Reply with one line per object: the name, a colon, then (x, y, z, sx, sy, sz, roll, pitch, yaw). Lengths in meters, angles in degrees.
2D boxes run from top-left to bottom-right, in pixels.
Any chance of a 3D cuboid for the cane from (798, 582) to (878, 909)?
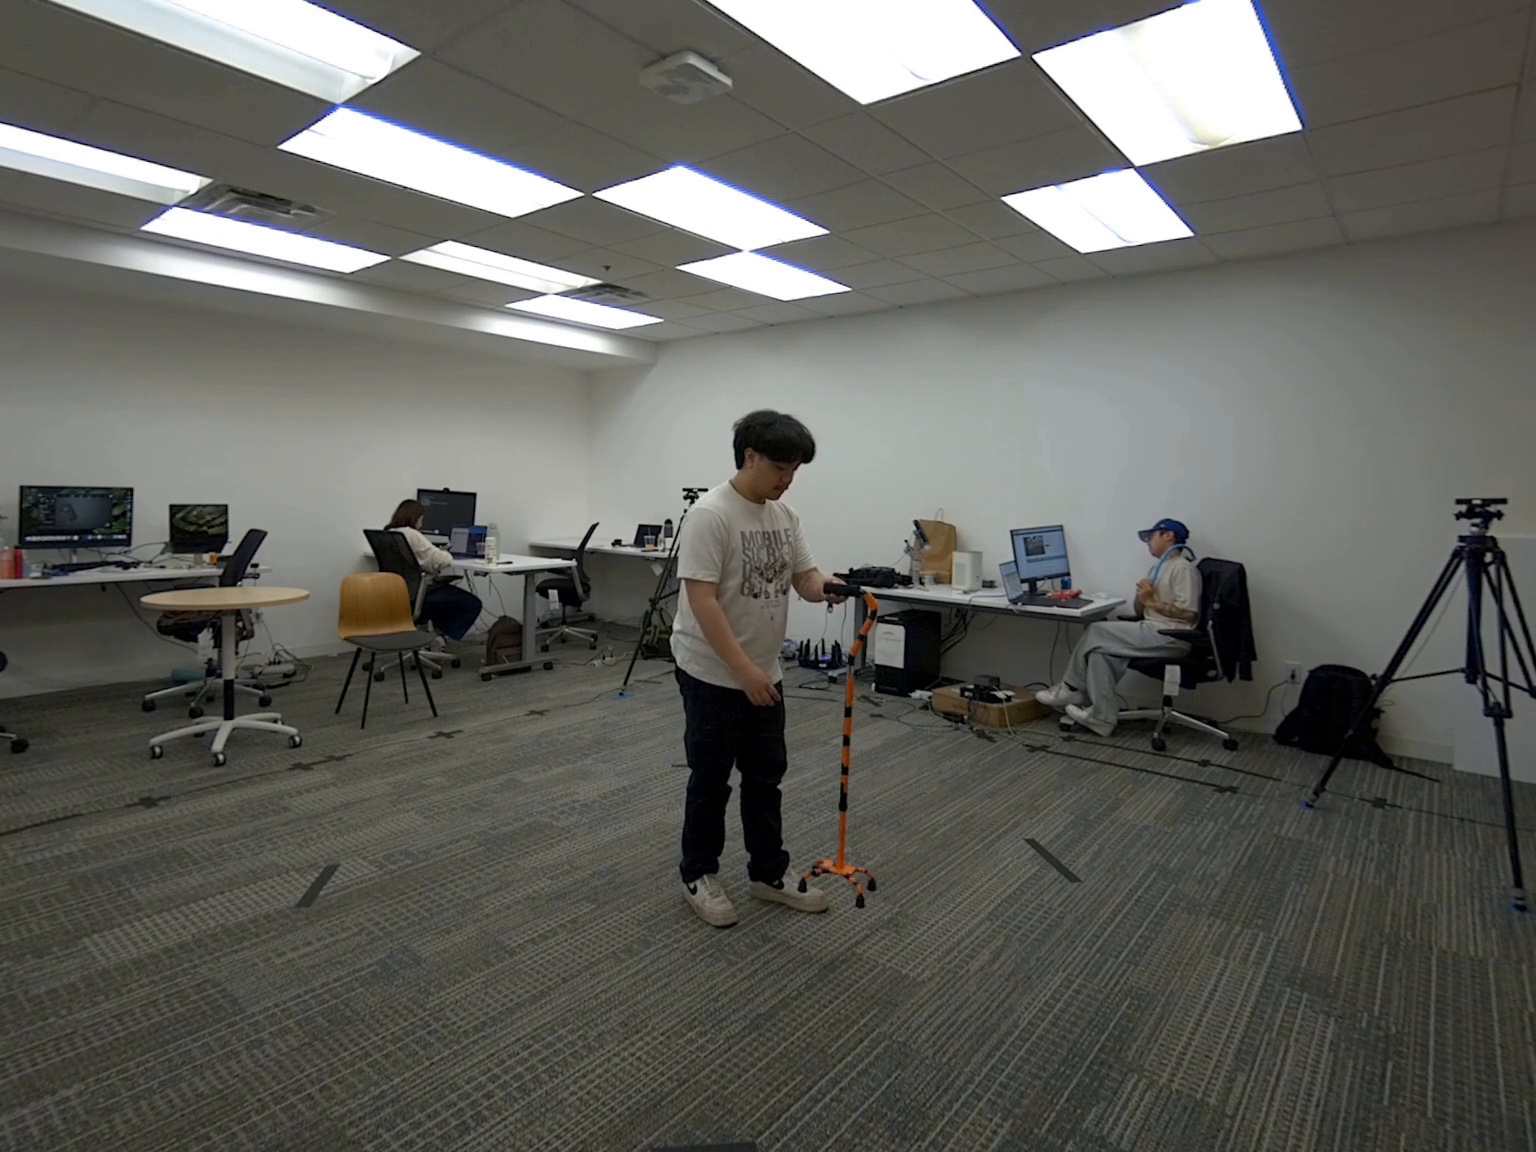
cane: (0.231, 0.489, 2.516, 0.211, 0.906, 0.148, 3, 2, 23)
